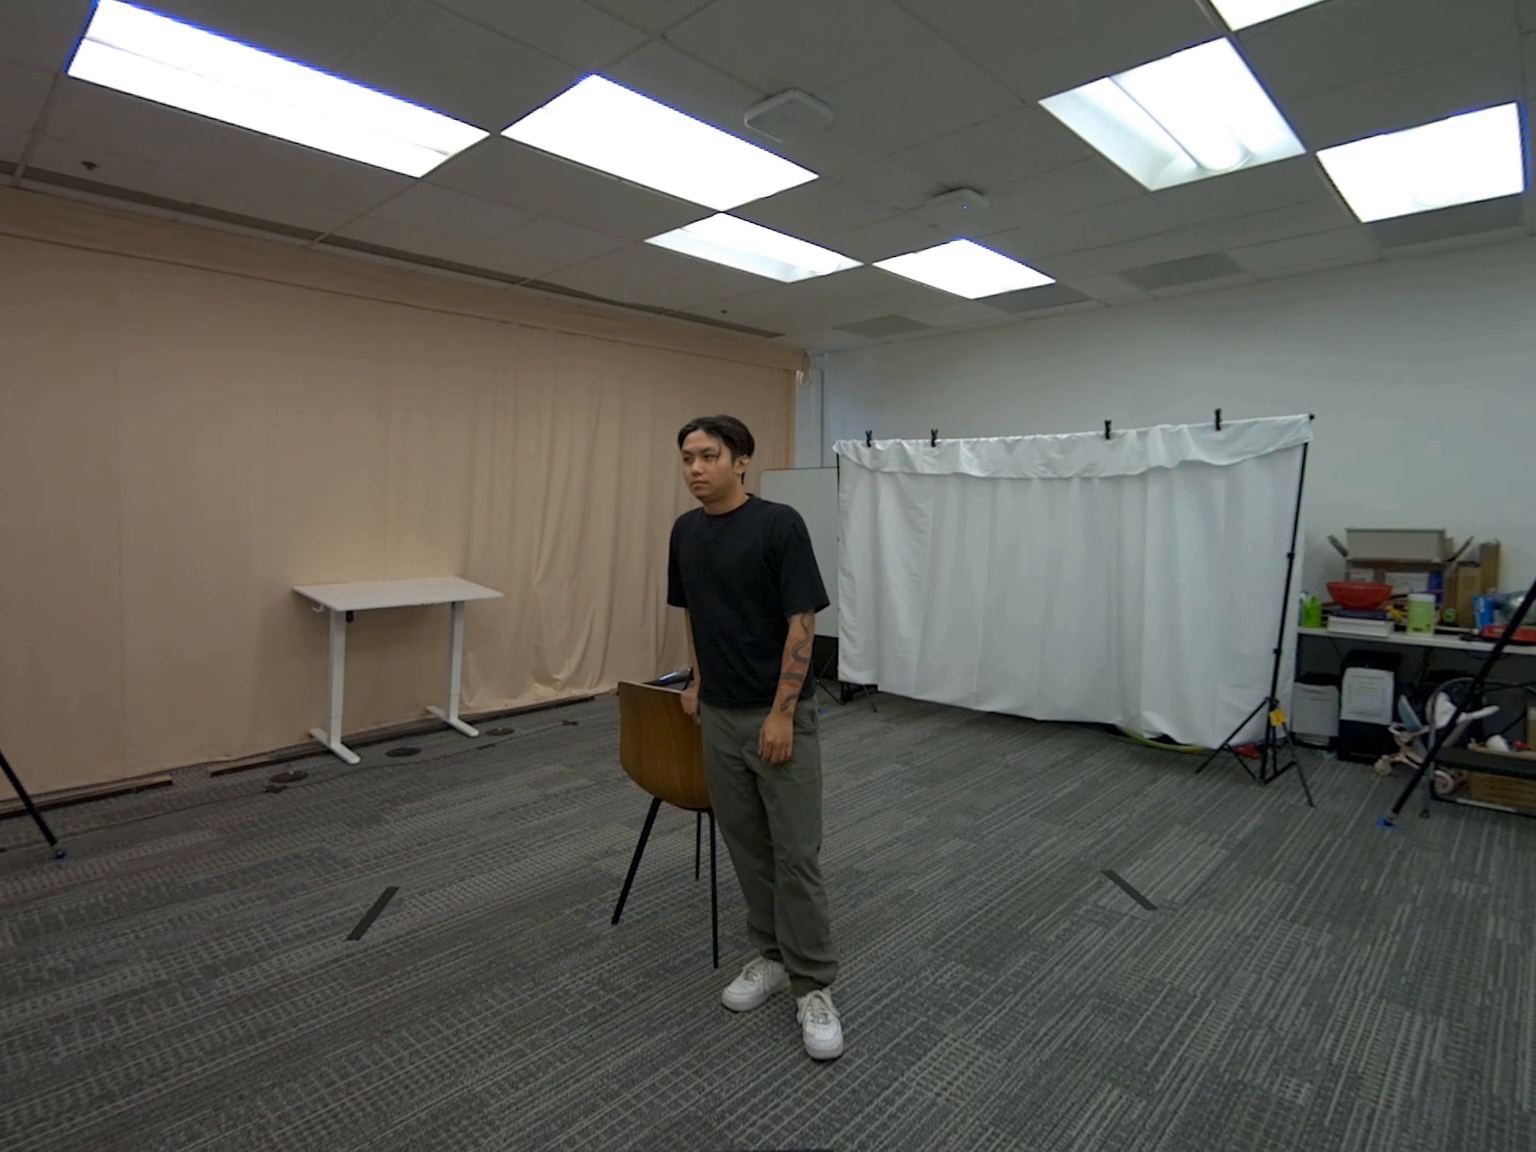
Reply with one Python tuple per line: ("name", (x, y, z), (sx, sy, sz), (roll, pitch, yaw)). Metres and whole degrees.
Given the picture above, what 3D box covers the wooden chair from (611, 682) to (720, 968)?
("wooden chair", (-0.210, 0.732, 2.829), (0.493, 0.874, 0.509), (2, 8, 37))
